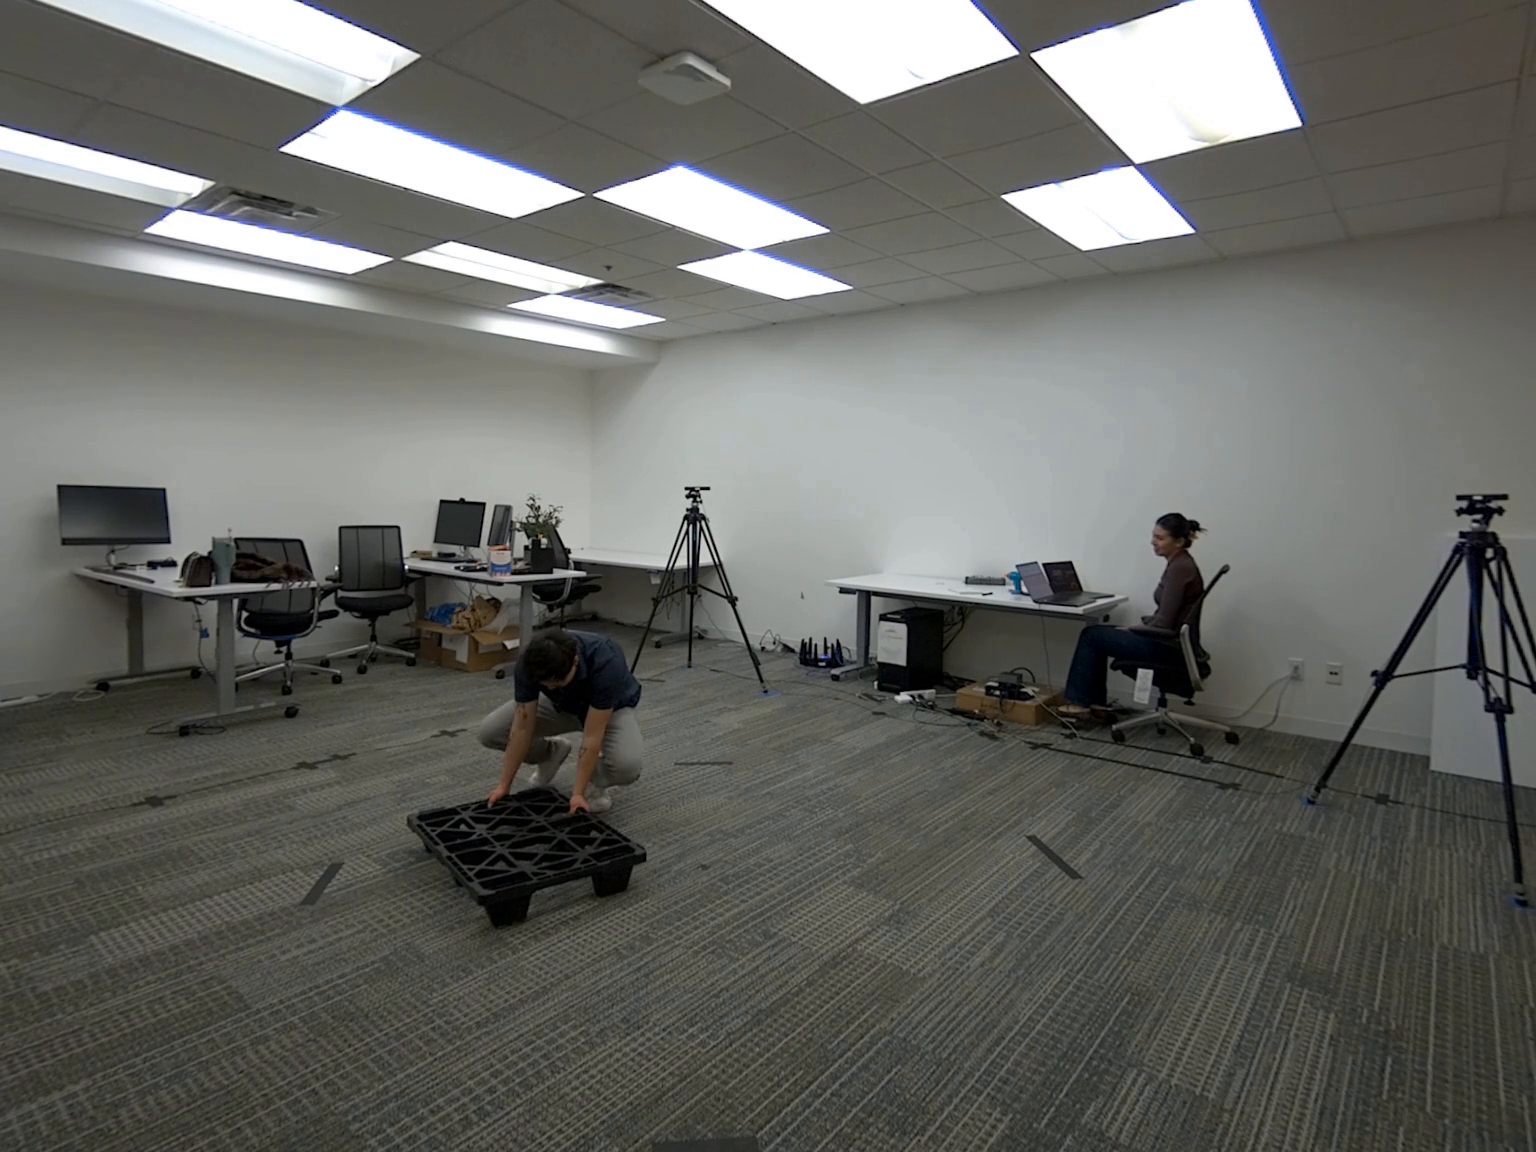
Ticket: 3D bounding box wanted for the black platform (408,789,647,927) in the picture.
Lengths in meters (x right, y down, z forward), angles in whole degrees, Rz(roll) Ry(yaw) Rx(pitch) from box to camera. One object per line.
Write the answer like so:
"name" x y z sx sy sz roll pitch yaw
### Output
"black platform" -0.905 0.991 3.078 0.588 0.143 0.832 -4 7 -37
